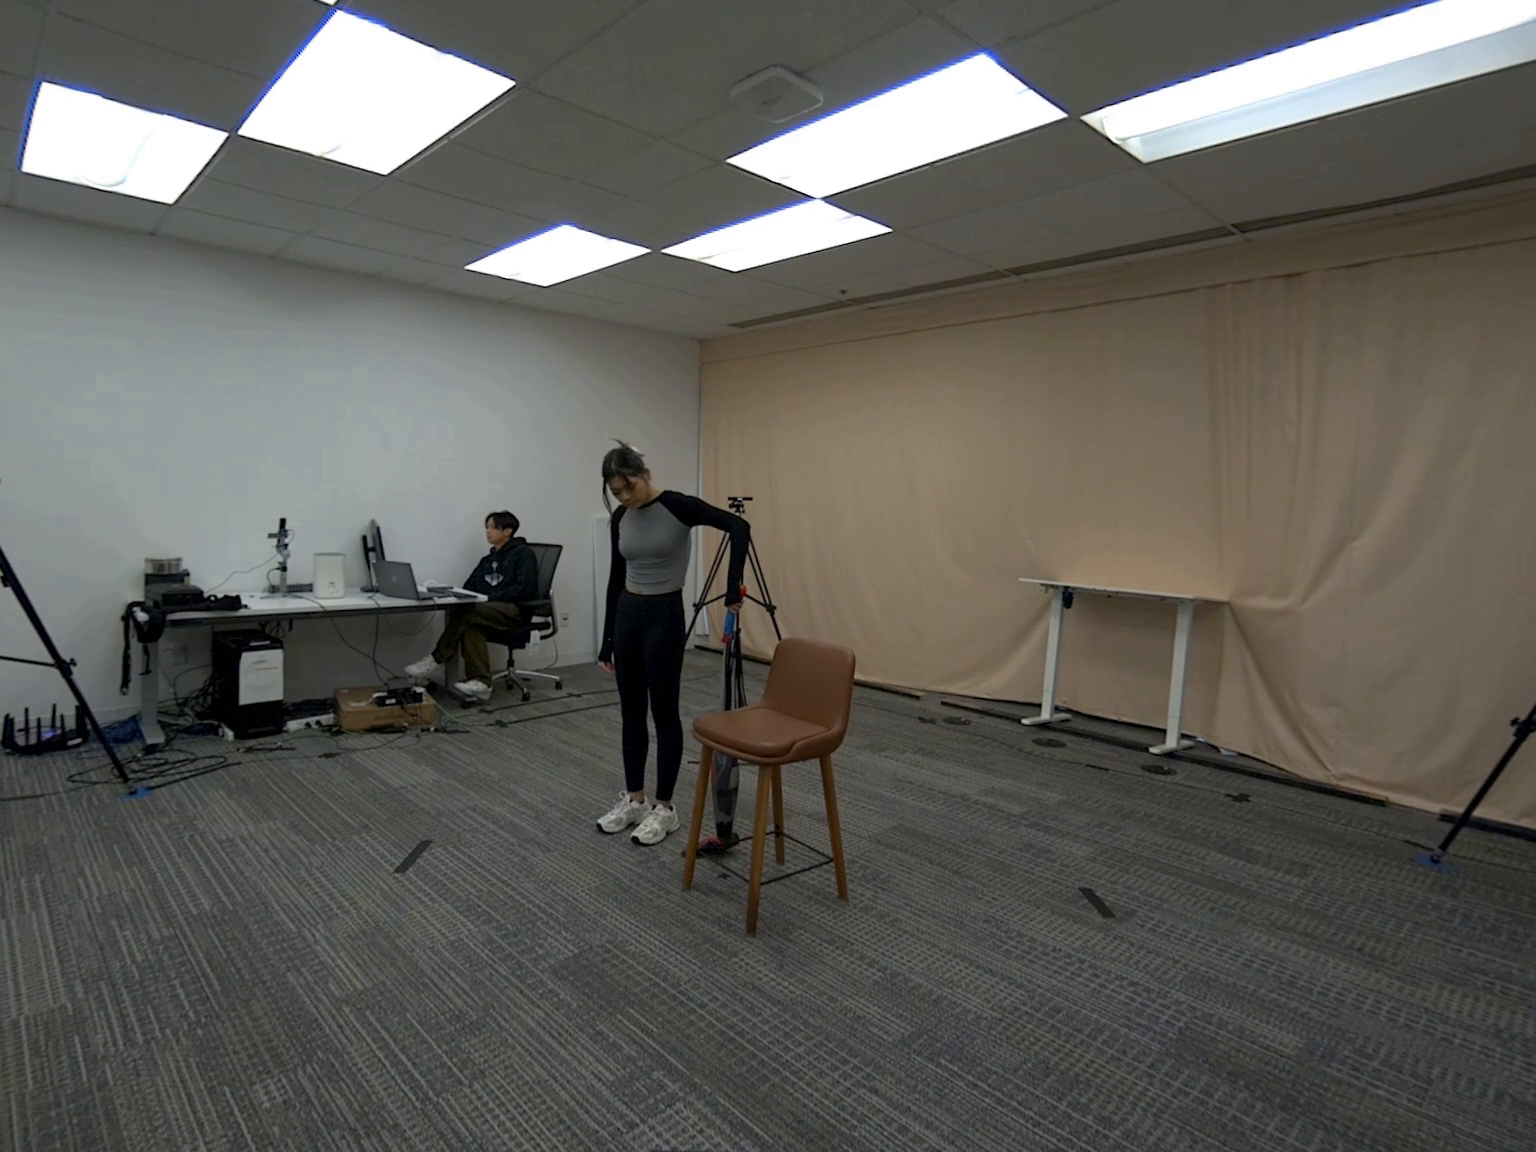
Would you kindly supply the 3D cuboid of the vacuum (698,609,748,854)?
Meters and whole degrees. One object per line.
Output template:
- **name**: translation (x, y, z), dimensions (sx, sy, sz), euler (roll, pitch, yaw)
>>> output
- **vacuum**: translation (-0.164, 0.570, 3.235), dimensions (0.247, 1.042, 0.148), euler (-2, 12, -40)
